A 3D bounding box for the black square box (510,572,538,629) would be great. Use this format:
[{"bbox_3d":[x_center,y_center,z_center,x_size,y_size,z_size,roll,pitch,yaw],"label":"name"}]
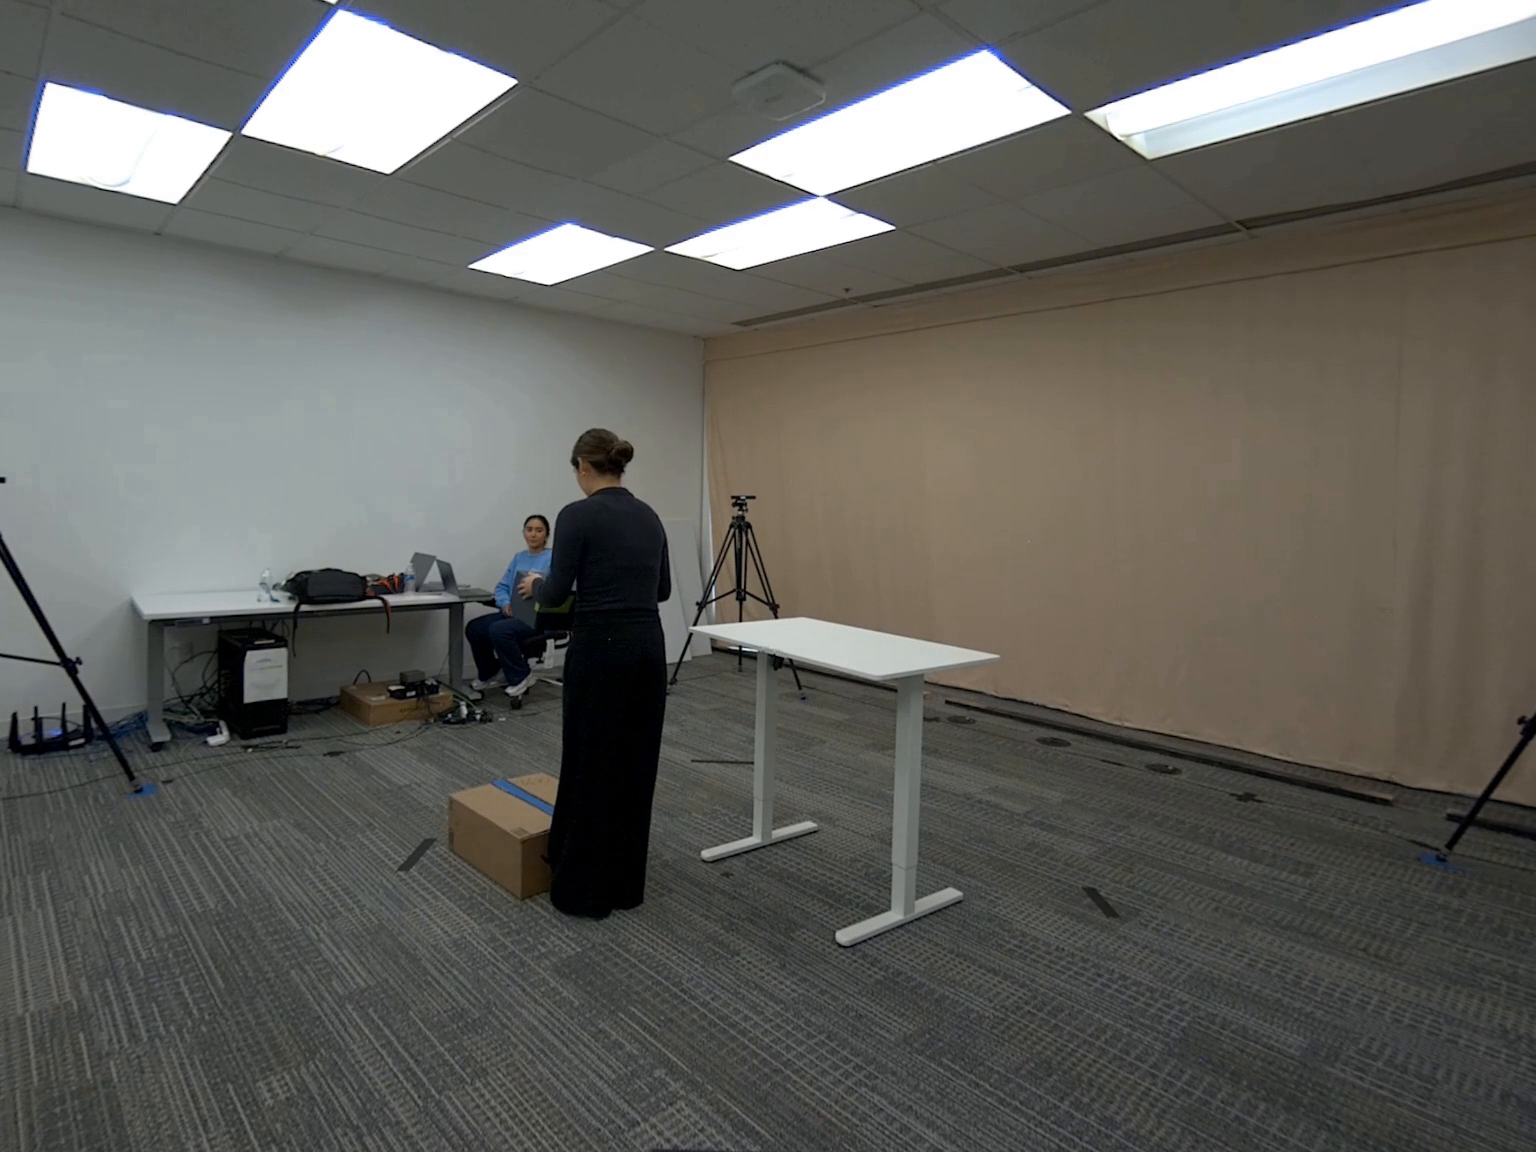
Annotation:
[{"bbox_3d":[-0.738,0.109,3.073,0.222,0.155,0.224,5,14,-44],"label":"black square box"}]
